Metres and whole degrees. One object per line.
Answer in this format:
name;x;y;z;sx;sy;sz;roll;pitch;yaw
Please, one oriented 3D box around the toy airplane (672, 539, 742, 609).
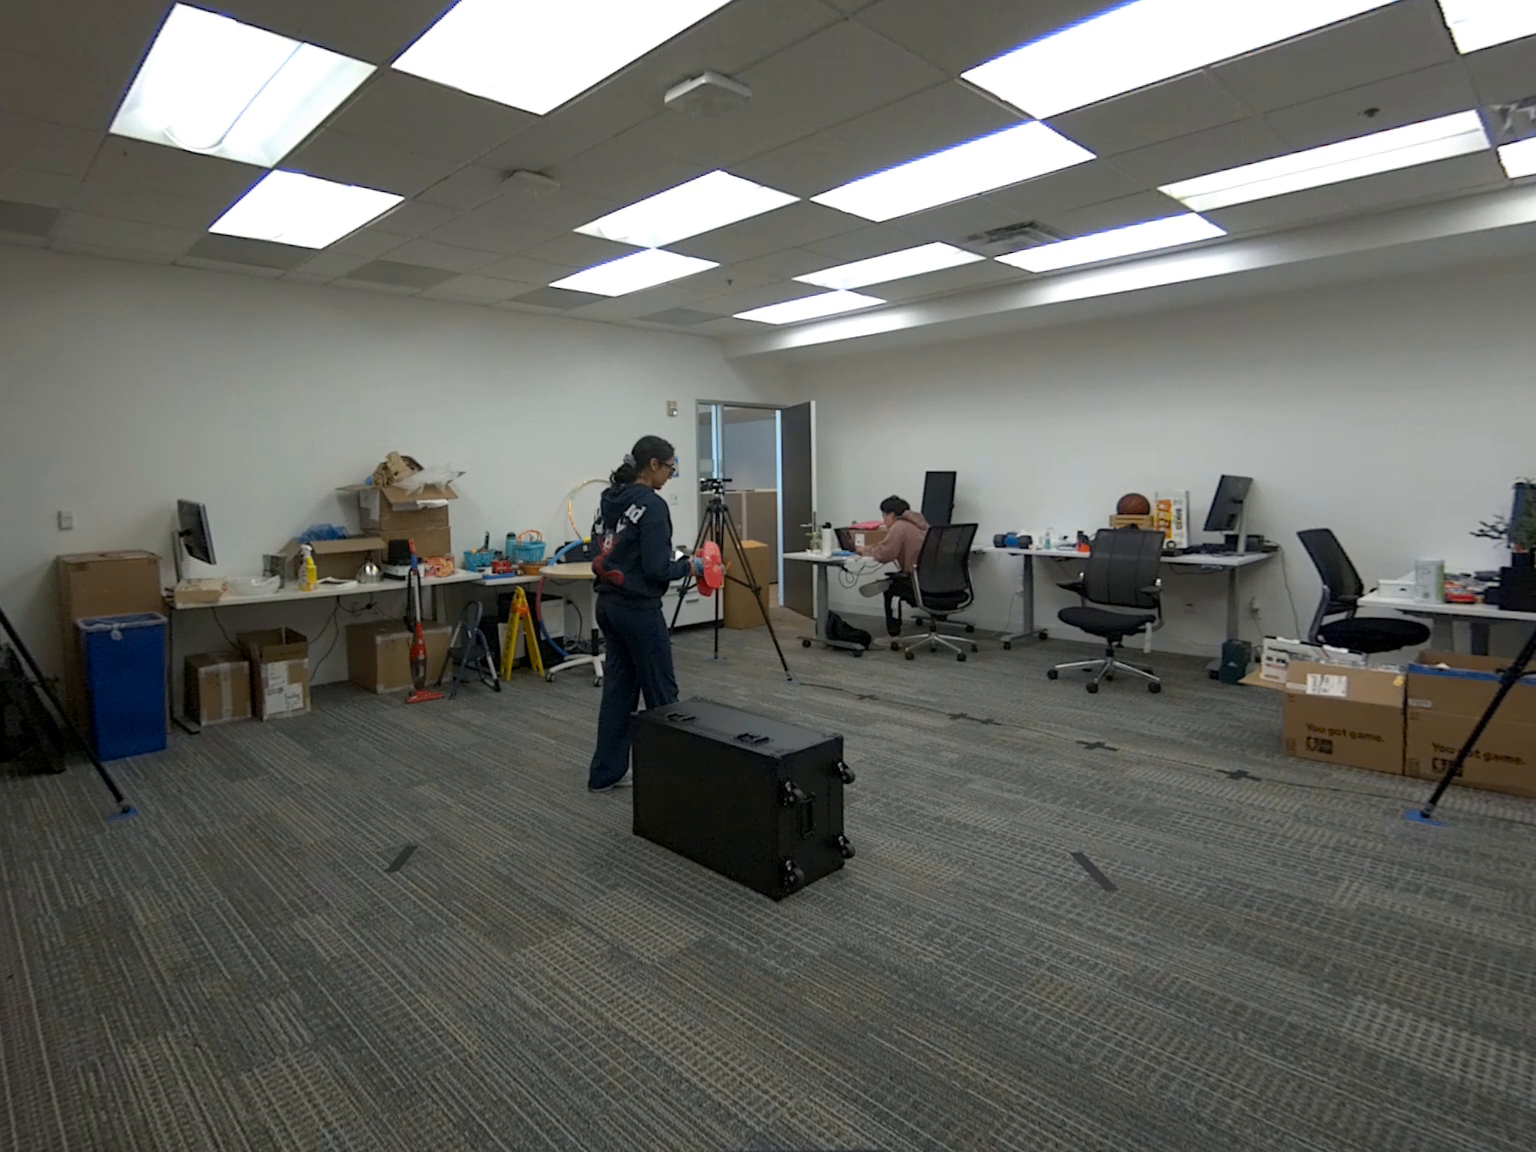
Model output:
toy airplane;-0.310;-0.014;4.010;0.158;0.255;0.253;-32;-14;37
